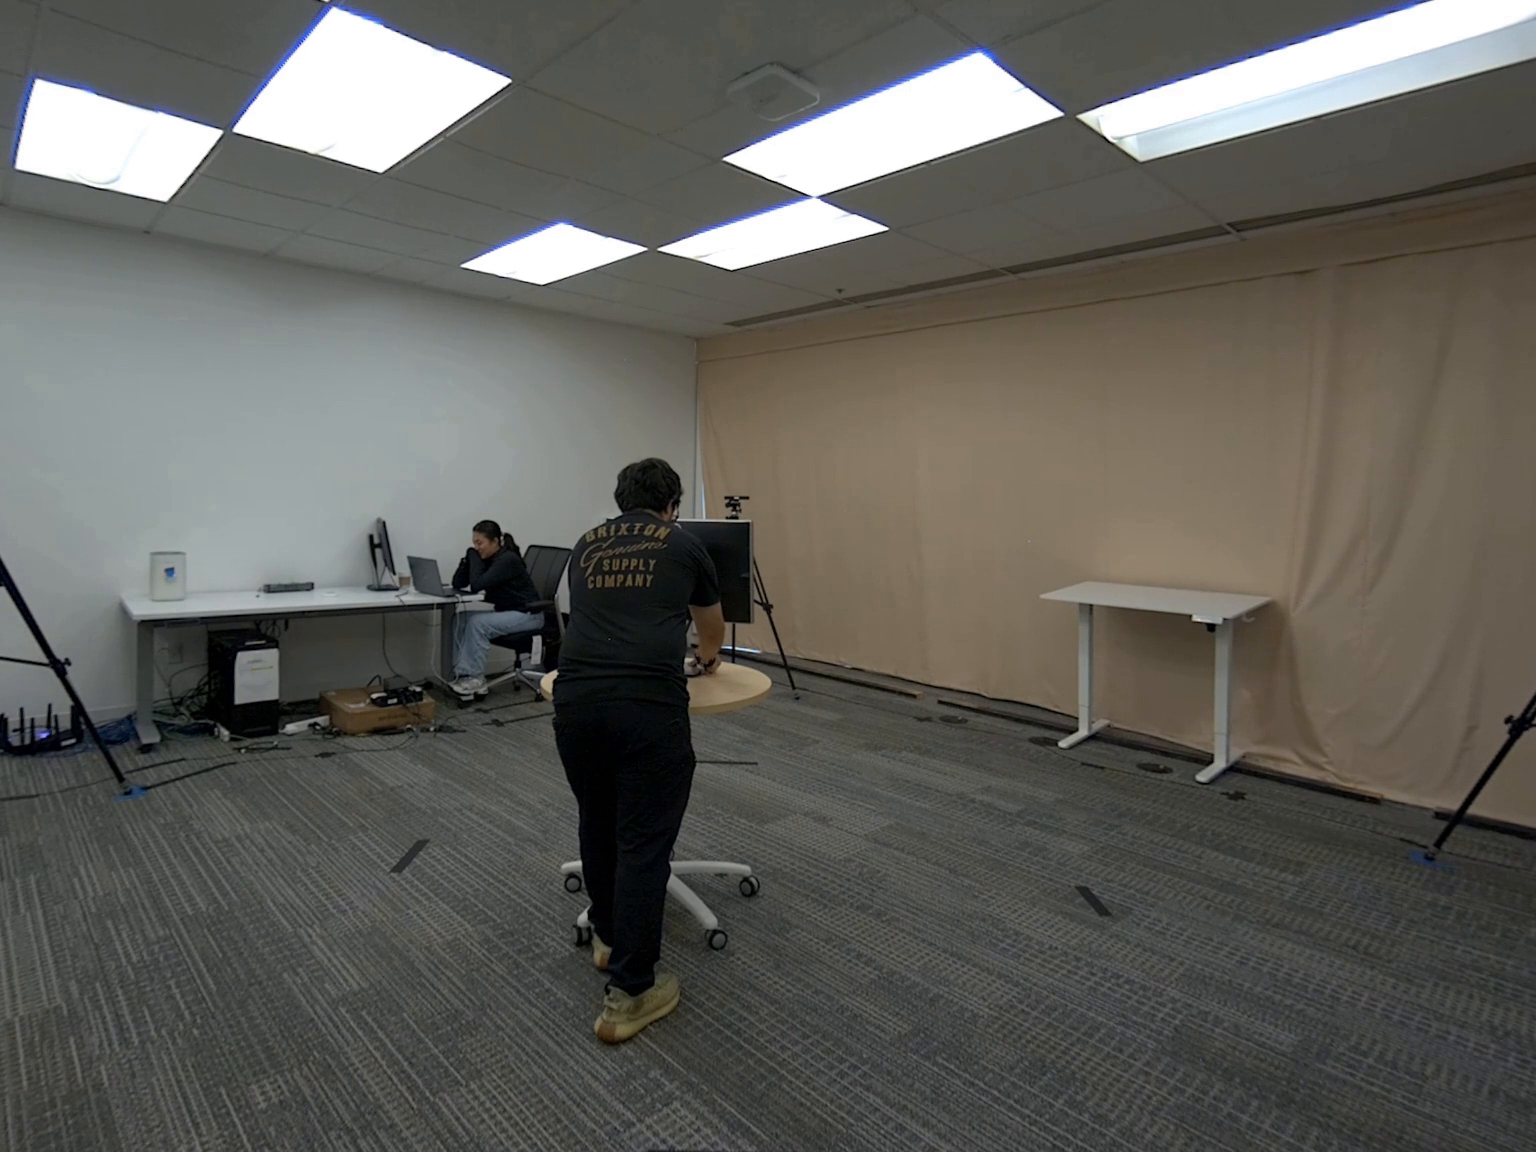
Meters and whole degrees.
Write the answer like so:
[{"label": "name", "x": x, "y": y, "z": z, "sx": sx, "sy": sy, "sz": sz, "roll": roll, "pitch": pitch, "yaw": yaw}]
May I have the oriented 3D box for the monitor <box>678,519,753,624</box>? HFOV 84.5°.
[{"label": "monitor", "x": -0.341, "y": 0.075, "z": 2.945, "sx": 0.574, "sy": 0.552, "sz": 0.207, "roll": 3, "pitch": 4, "yaw": 19}]
